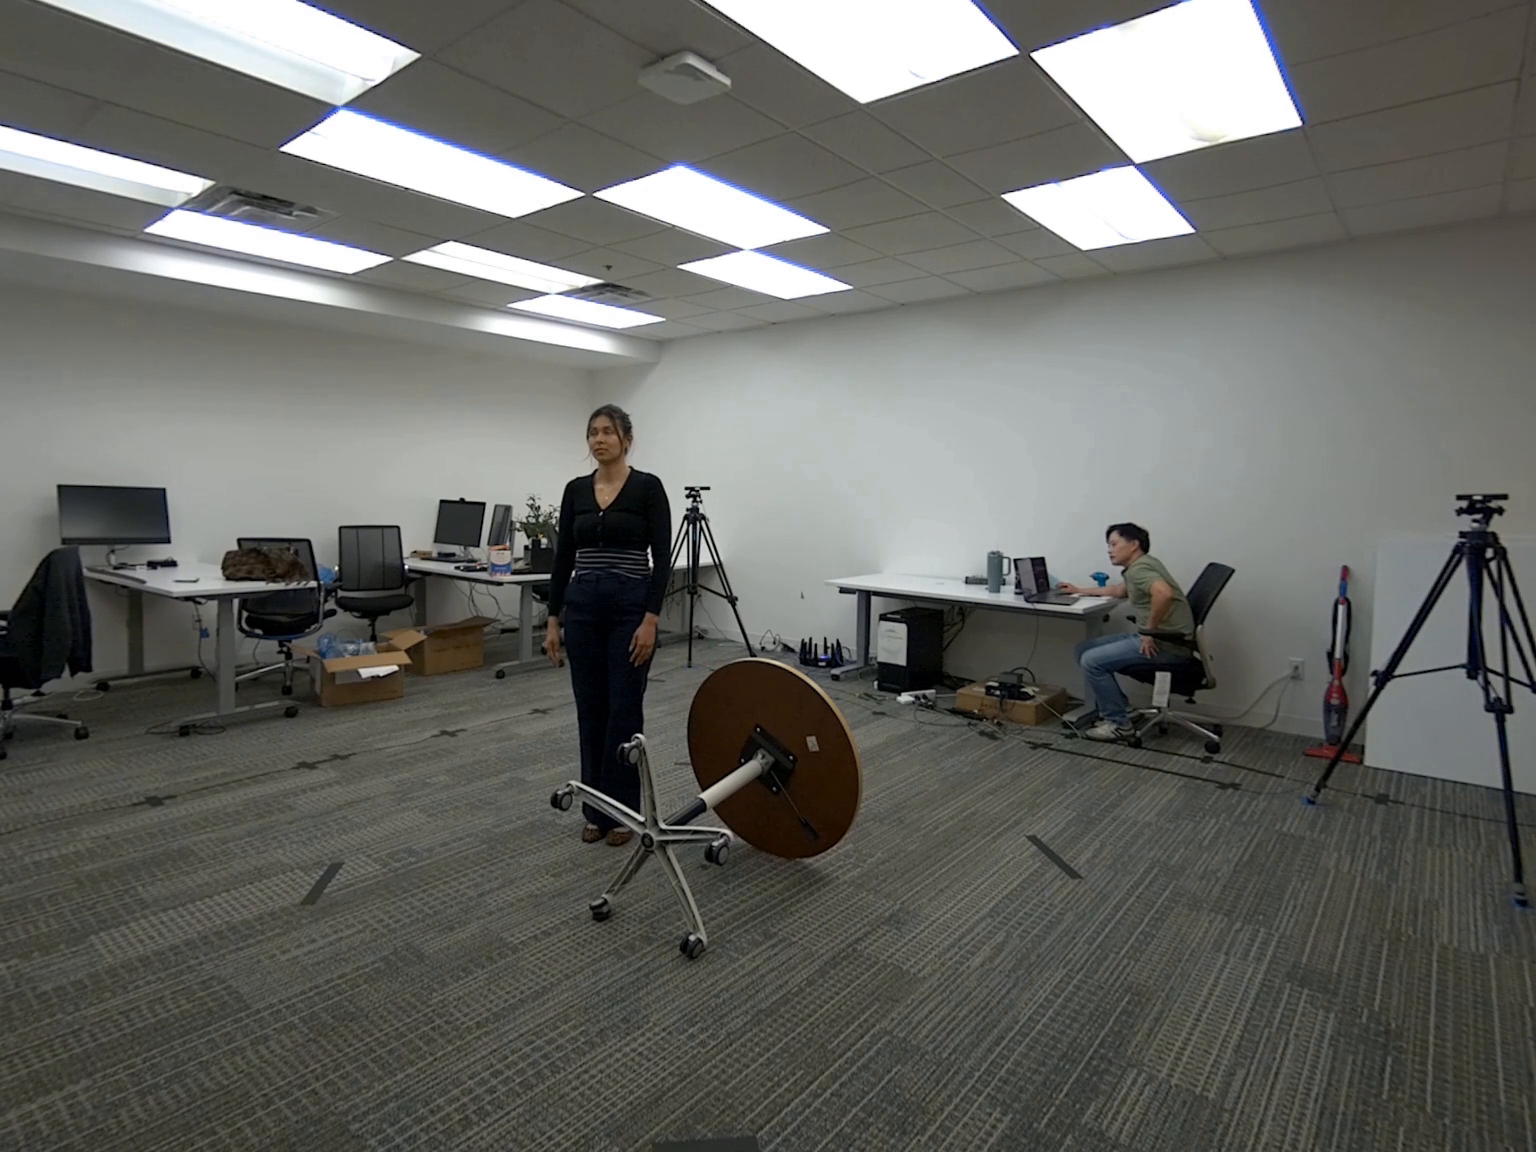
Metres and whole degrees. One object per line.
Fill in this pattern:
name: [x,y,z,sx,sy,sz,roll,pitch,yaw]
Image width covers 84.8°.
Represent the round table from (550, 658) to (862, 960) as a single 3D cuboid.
round table: [-0.217,0.760,2.884,0.788,0.756,0.777,4,12,35]
